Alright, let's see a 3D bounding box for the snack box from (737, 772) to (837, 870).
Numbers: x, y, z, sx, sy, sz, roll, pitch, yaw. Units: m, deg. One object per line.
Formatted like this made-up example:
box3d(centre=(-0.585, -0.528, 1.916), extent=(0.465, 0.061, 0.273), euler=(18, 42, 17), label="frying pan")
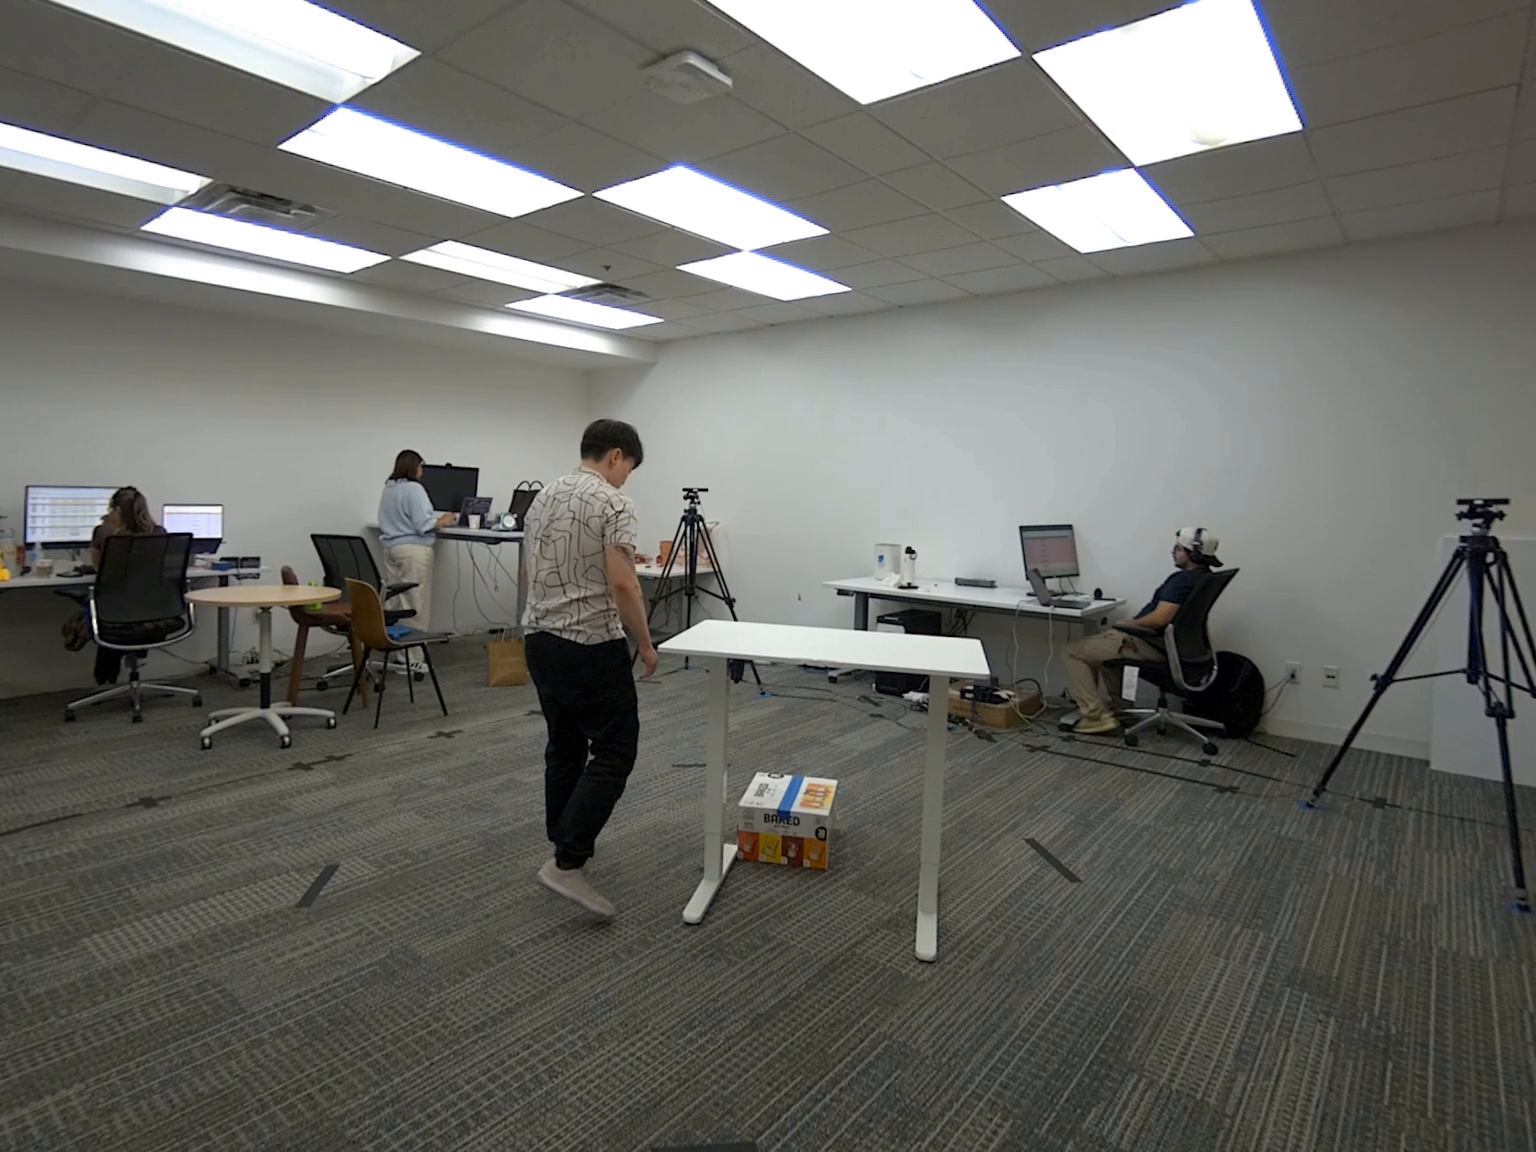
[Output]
box3d(centre=(0.079, 0.950, 3.352), extent=(0.345, 0.205, 0.401), euler=(2, 5, 11), label="snack box")
